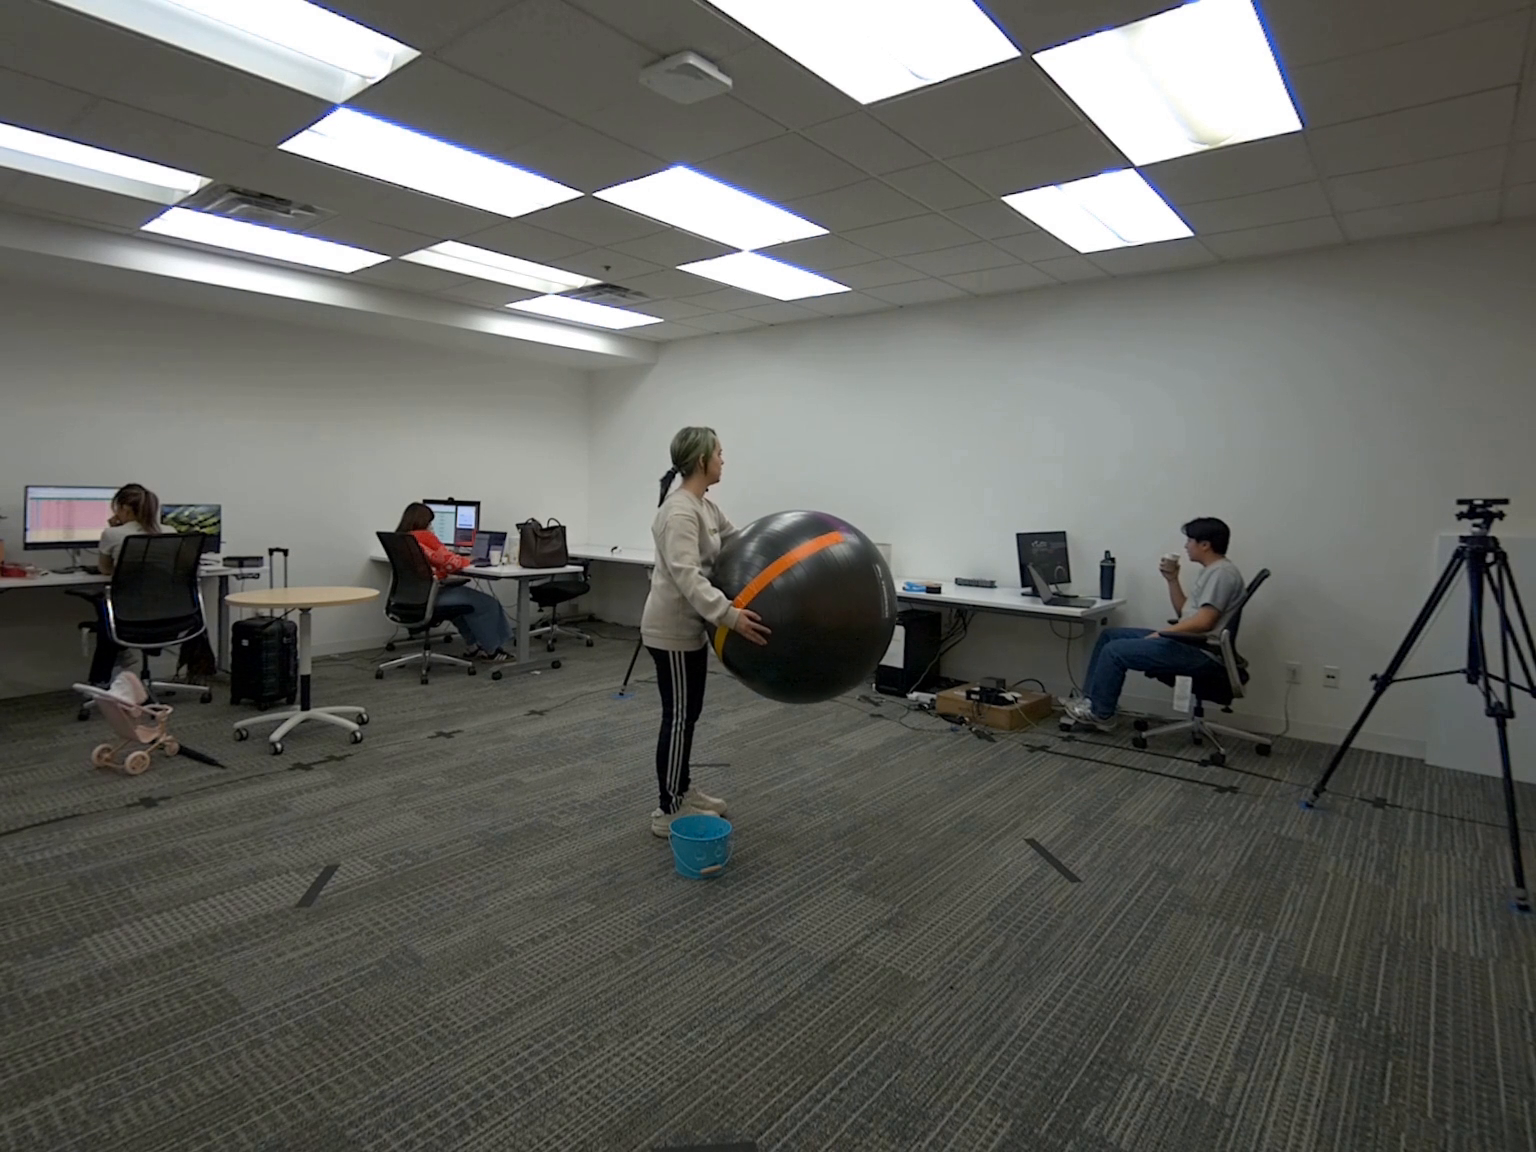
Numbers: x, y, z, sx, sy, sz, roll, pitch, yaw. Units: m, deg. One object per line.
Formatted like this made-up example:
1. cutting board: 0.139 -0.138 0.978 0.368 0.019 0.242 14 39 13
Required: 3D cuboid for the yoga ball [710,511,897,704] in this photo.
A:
1. yoga ball: 0.120 0.123 3.357 0.757 0.756 0.762 1 4 -2
